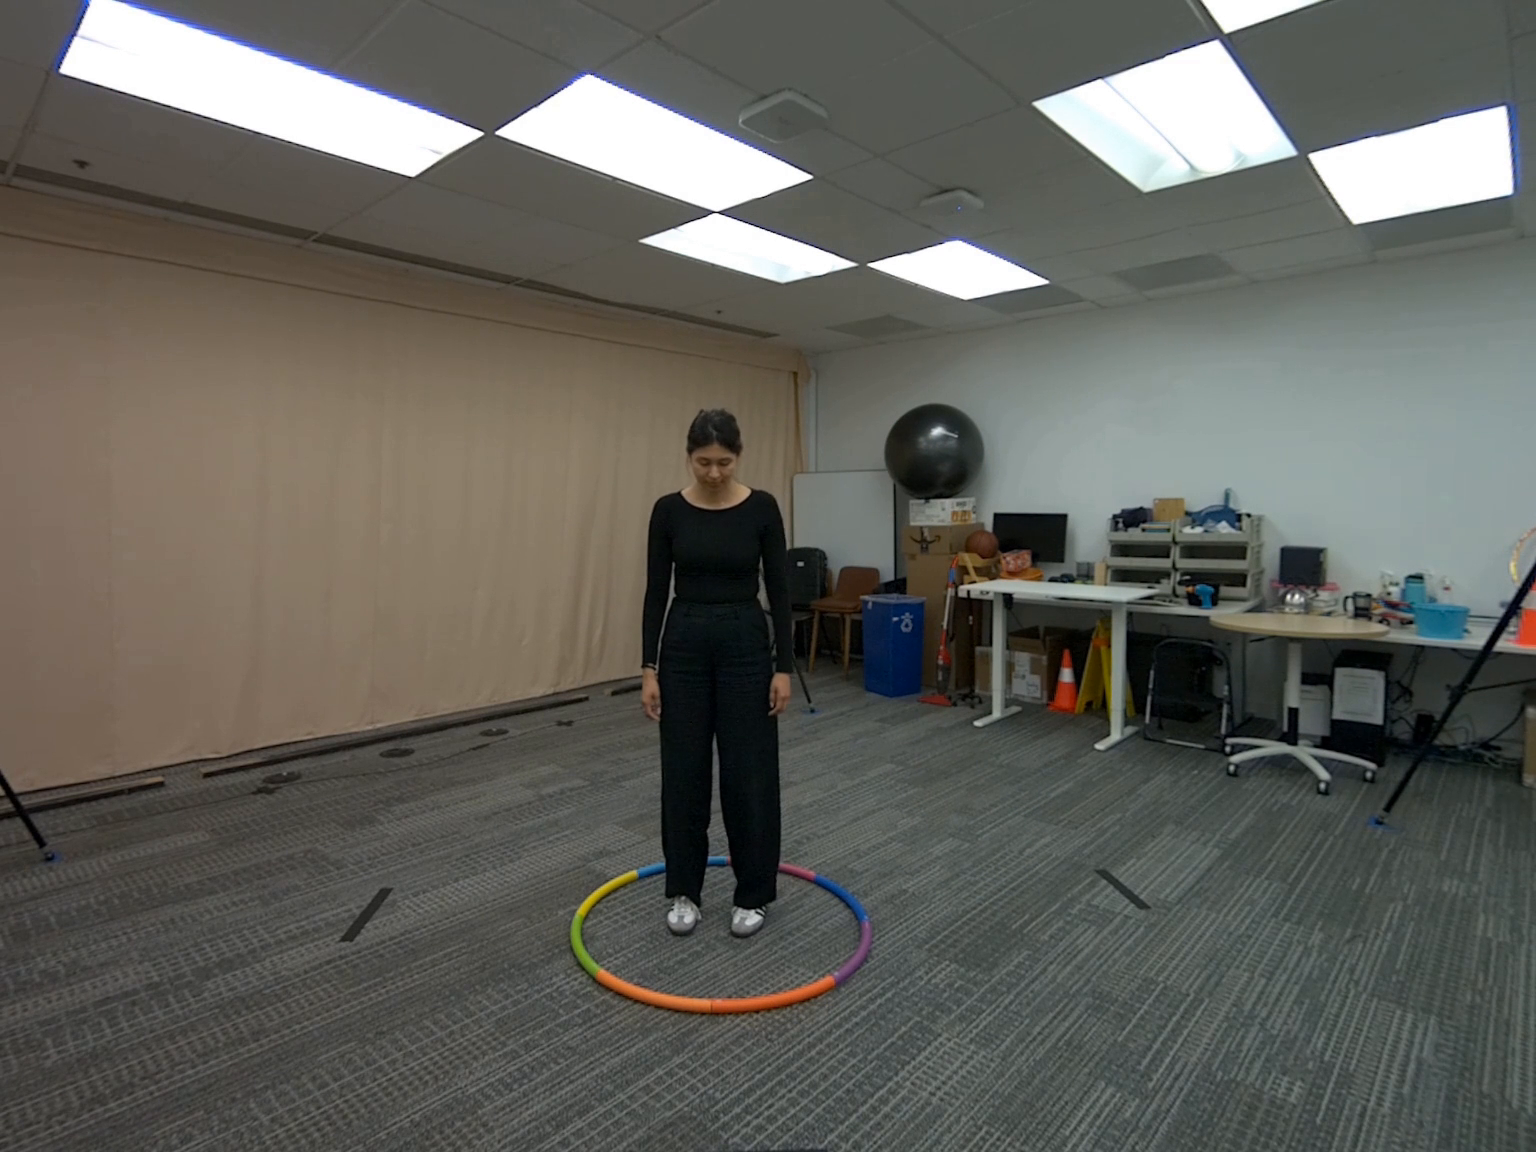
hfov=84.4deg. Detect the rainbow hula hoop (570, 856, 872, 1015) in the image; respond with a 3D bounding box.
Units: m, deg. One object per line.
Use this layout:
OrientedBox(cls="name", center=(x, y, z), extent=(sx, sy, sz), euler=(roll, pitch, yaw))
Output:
OrientedBox(cls="rainbow hula hoop", center=(-0.156, 1.133, 2.791), extent=(0.978, 0.035, 0.982), euler=(0, 5, -2))
